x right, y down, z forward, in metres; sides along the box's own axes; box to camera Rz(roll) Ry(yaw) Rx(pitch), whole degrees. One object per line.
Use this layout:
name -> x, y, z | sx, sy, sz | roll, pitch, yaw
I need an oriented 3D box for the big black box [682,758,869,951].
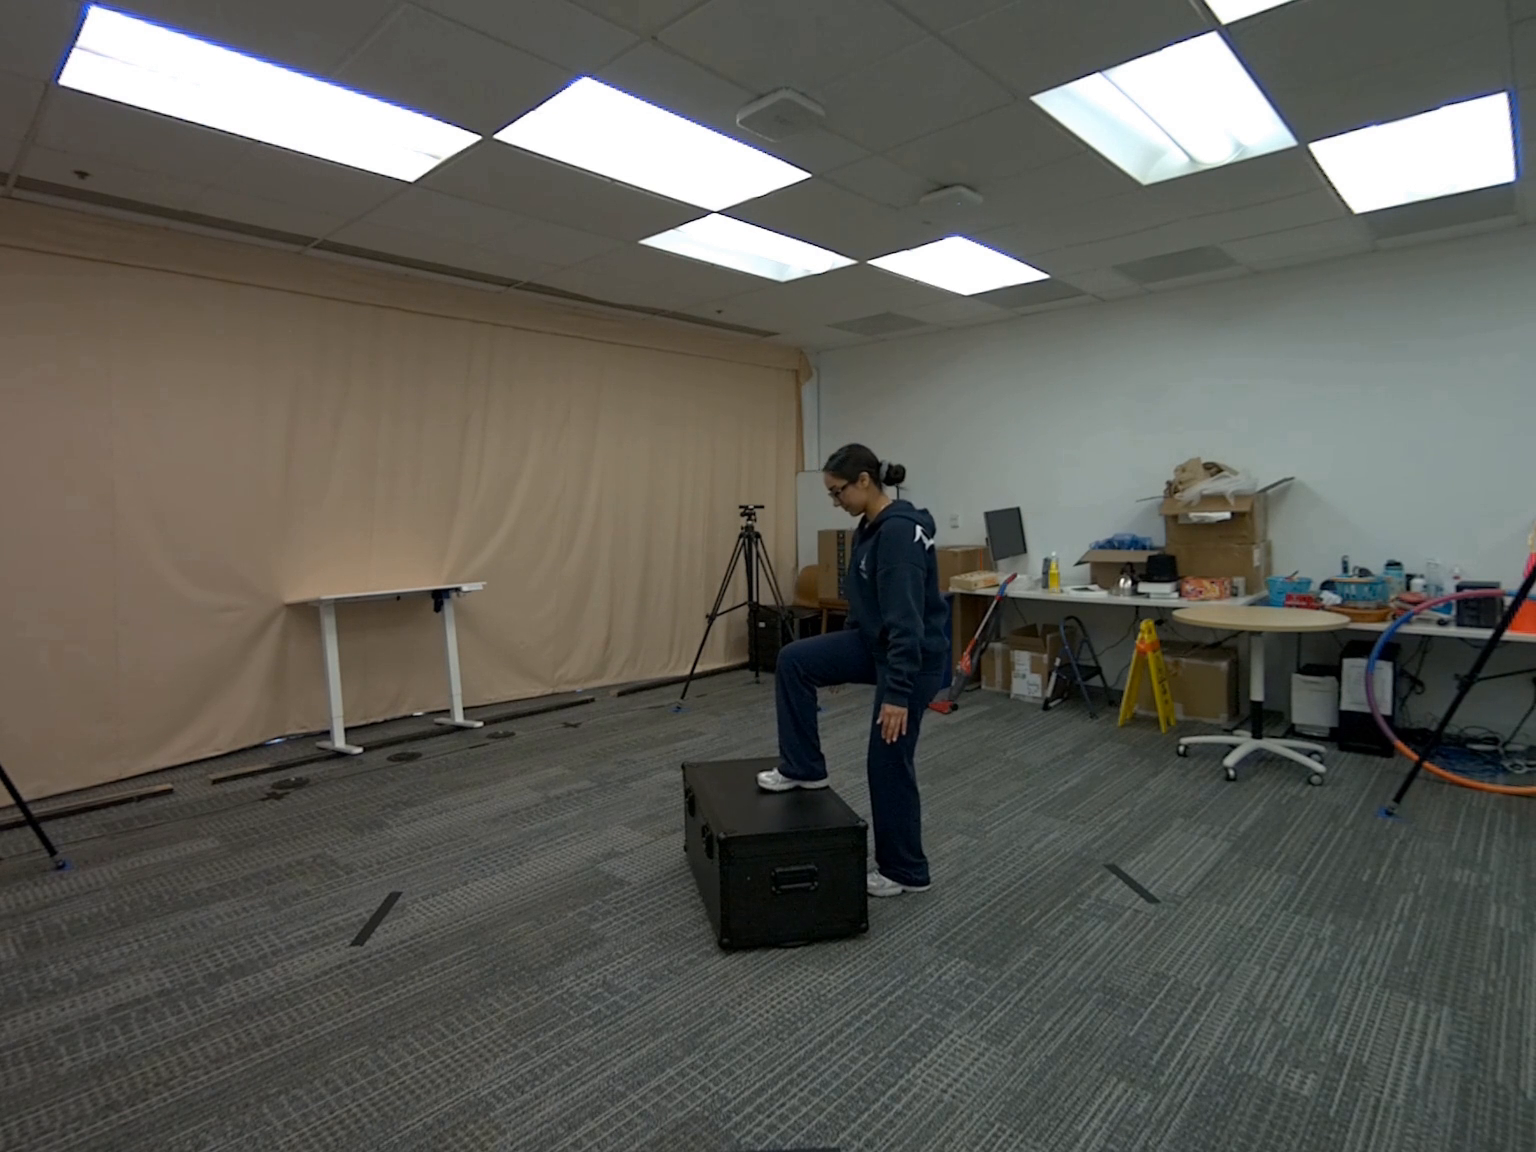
big black box -> -0.014, 0.945, 3.044 | 0.514, 0.395, 0.875 | -2, 5, -13
